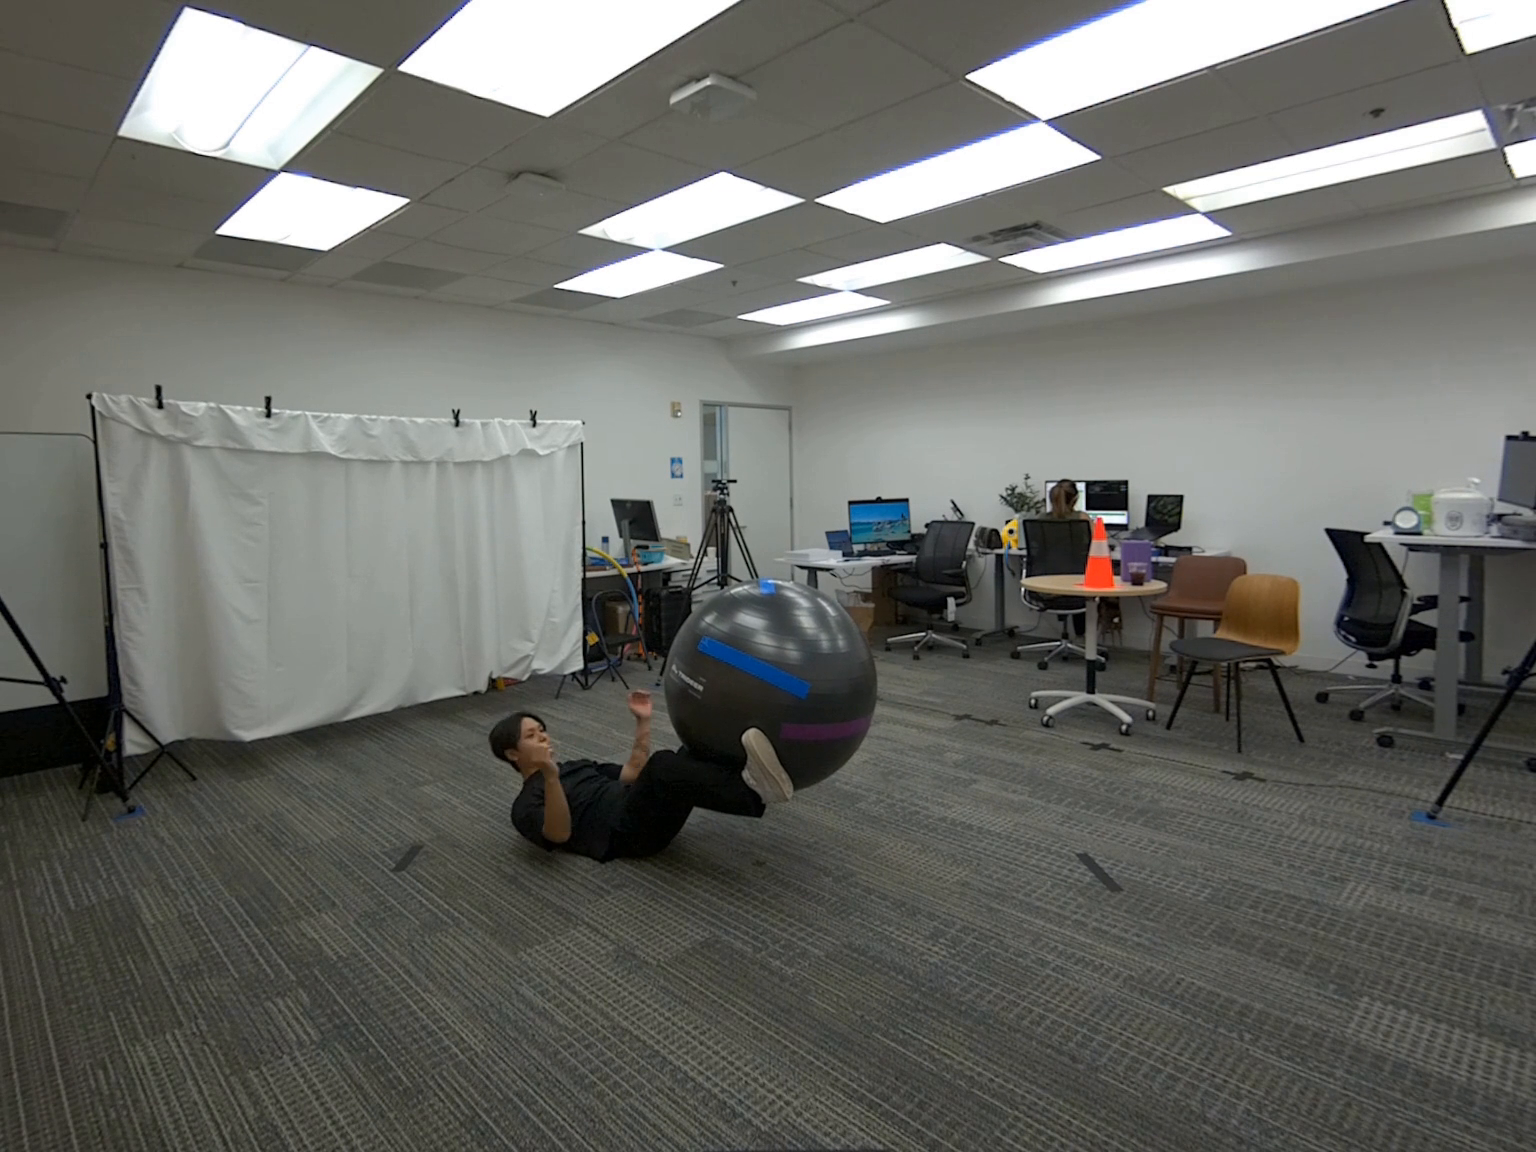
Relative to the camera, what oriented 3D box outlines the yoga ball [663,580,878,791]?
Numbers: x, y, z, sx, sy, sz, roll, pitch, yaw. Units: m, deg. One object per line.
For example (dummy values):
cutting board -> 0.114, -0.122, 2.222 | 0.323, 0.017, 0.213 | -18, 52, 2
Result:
yoga ball -> 0.005, 0.391, 3.089 | 0.757, 0.755, 0.762 | -1, 5, -2
